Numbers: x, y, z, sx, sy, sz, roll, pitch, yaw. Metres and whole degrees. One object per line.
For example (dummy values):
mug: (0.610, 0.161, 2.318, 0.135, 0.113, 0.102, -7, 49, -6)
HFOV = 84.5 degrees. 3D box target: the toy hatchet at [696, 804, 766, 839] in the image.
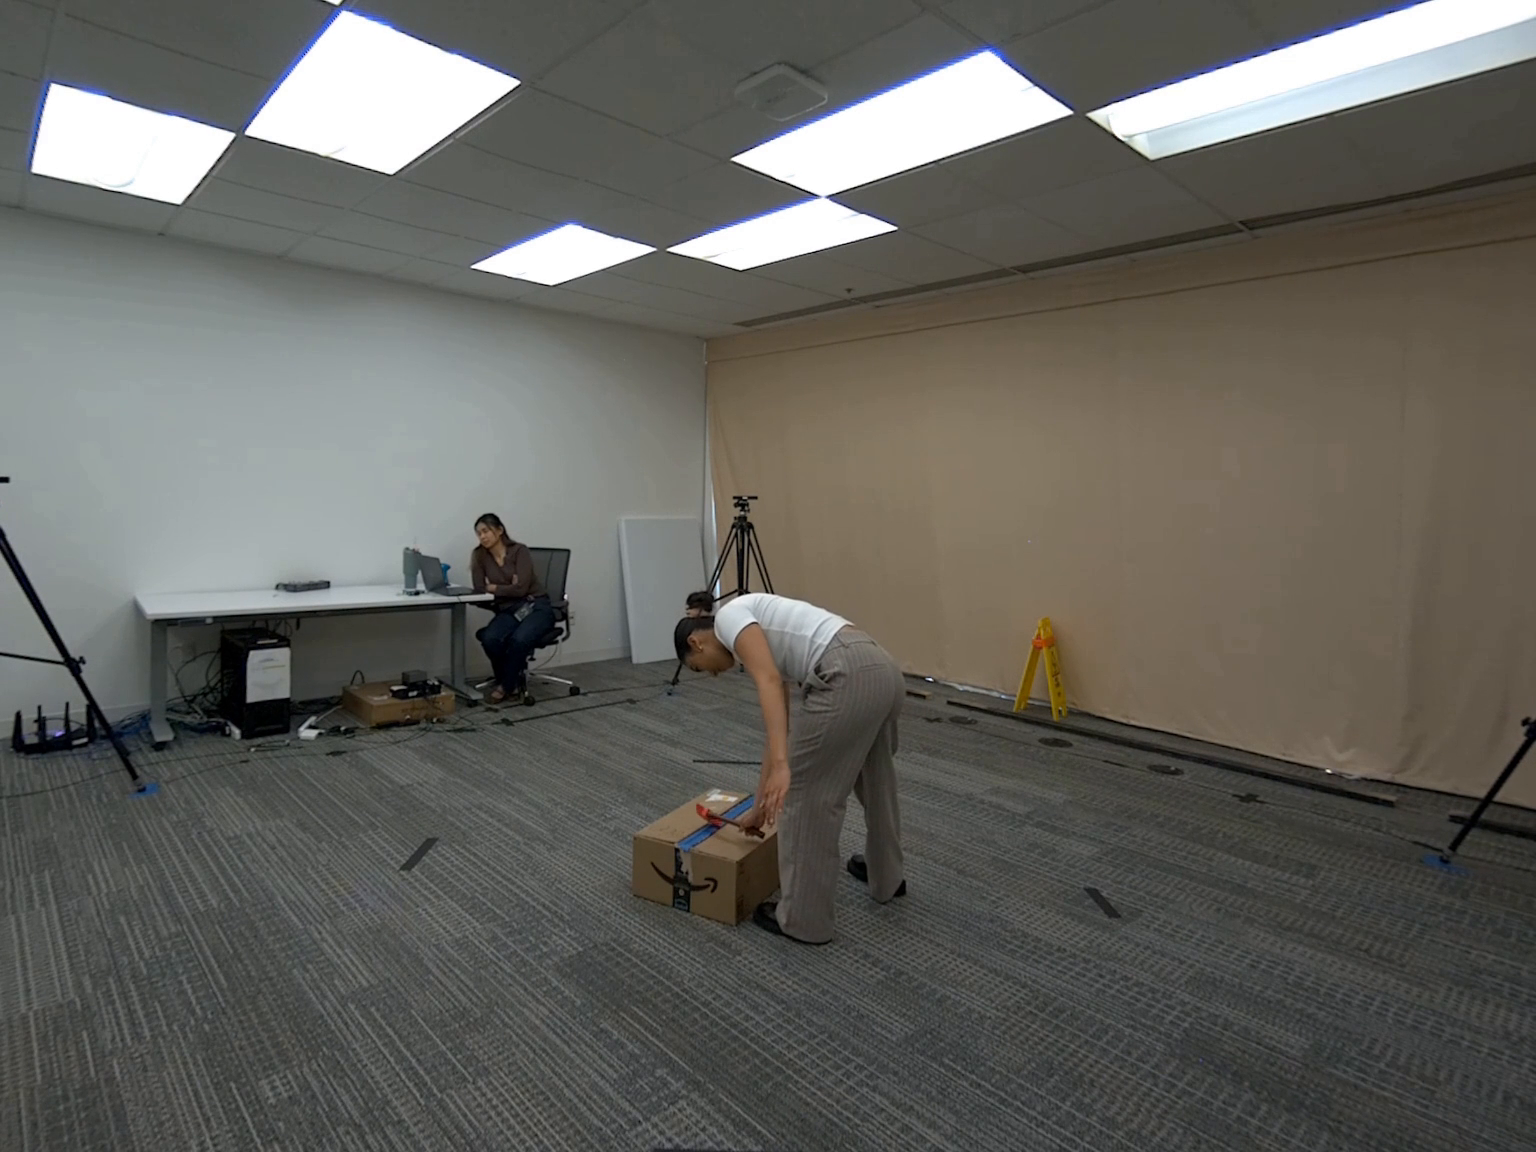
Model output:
toy hatchet: (-0.130, 0.874, 2.942, 0.275, 0.030, 0.128, 19, -35, 19)
